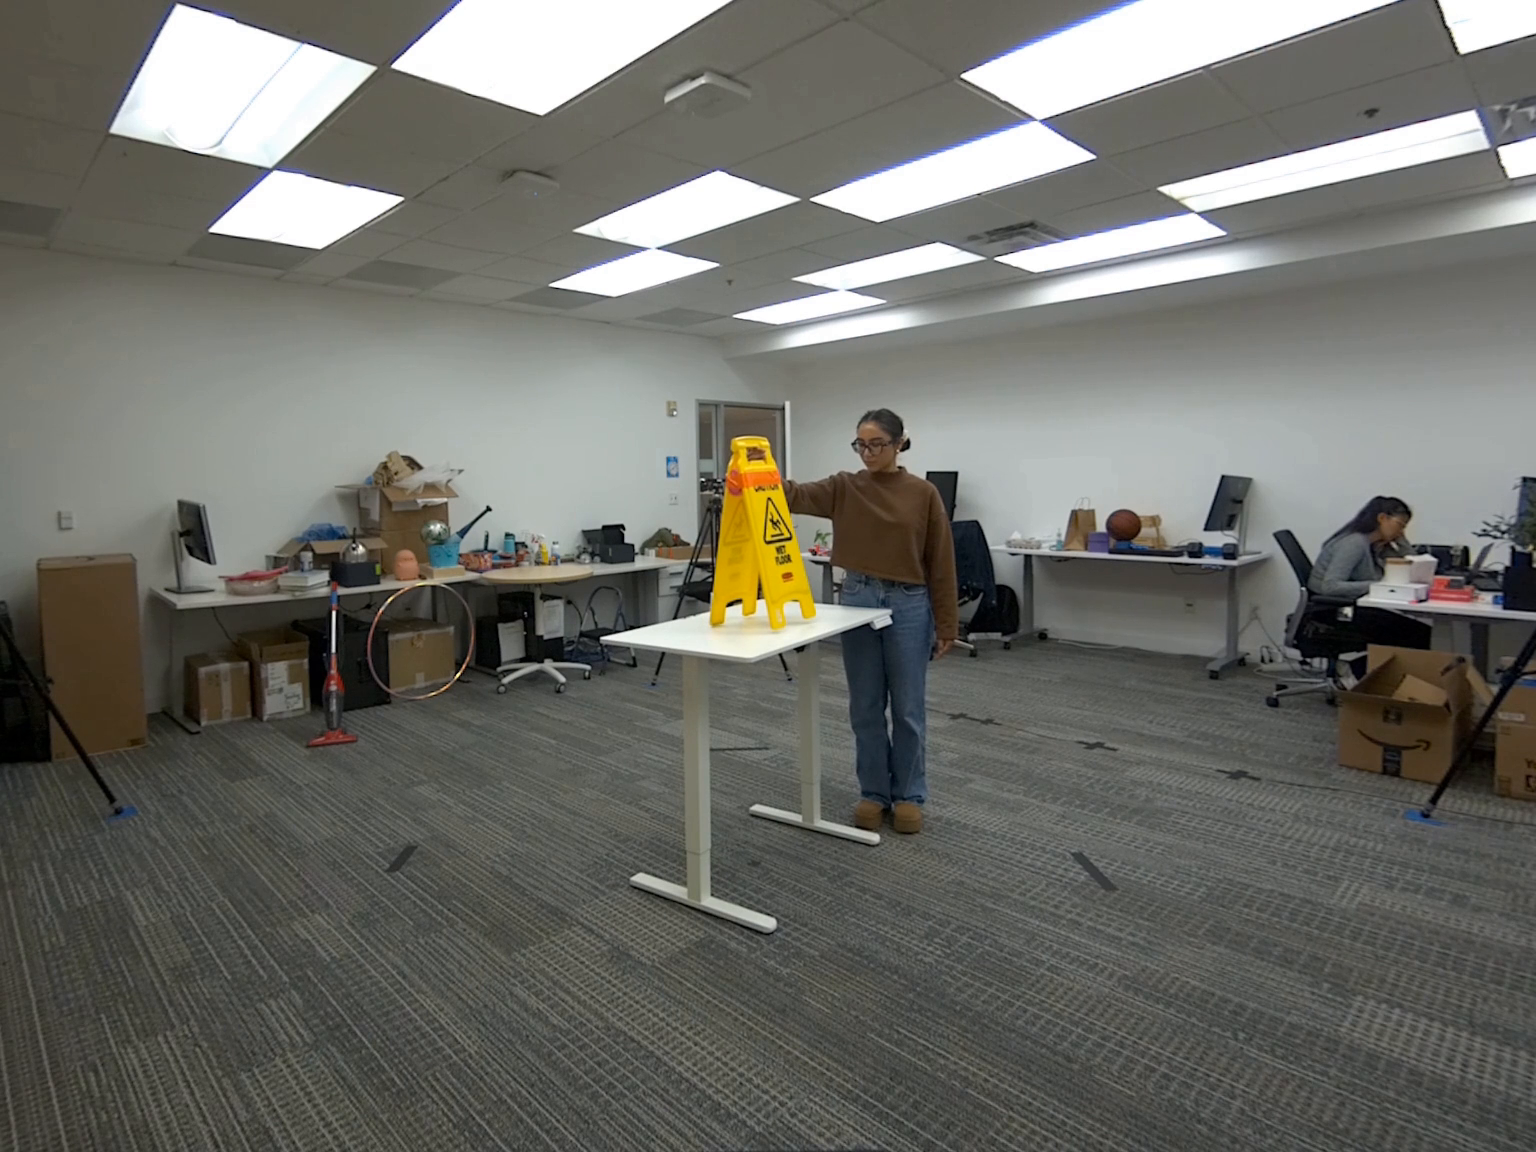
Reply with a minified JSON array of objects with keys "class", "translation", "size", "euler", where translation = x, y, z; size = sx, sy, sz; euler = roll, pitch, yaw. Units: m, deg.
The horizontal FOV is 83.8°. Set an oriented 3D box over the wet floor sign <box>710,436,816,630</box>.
[{"class":"wet floor sign","translation":[-0.040,-0.159,2.996],"size":[0.297,0.644,0.276],"euler":[-2,4,34]}]
